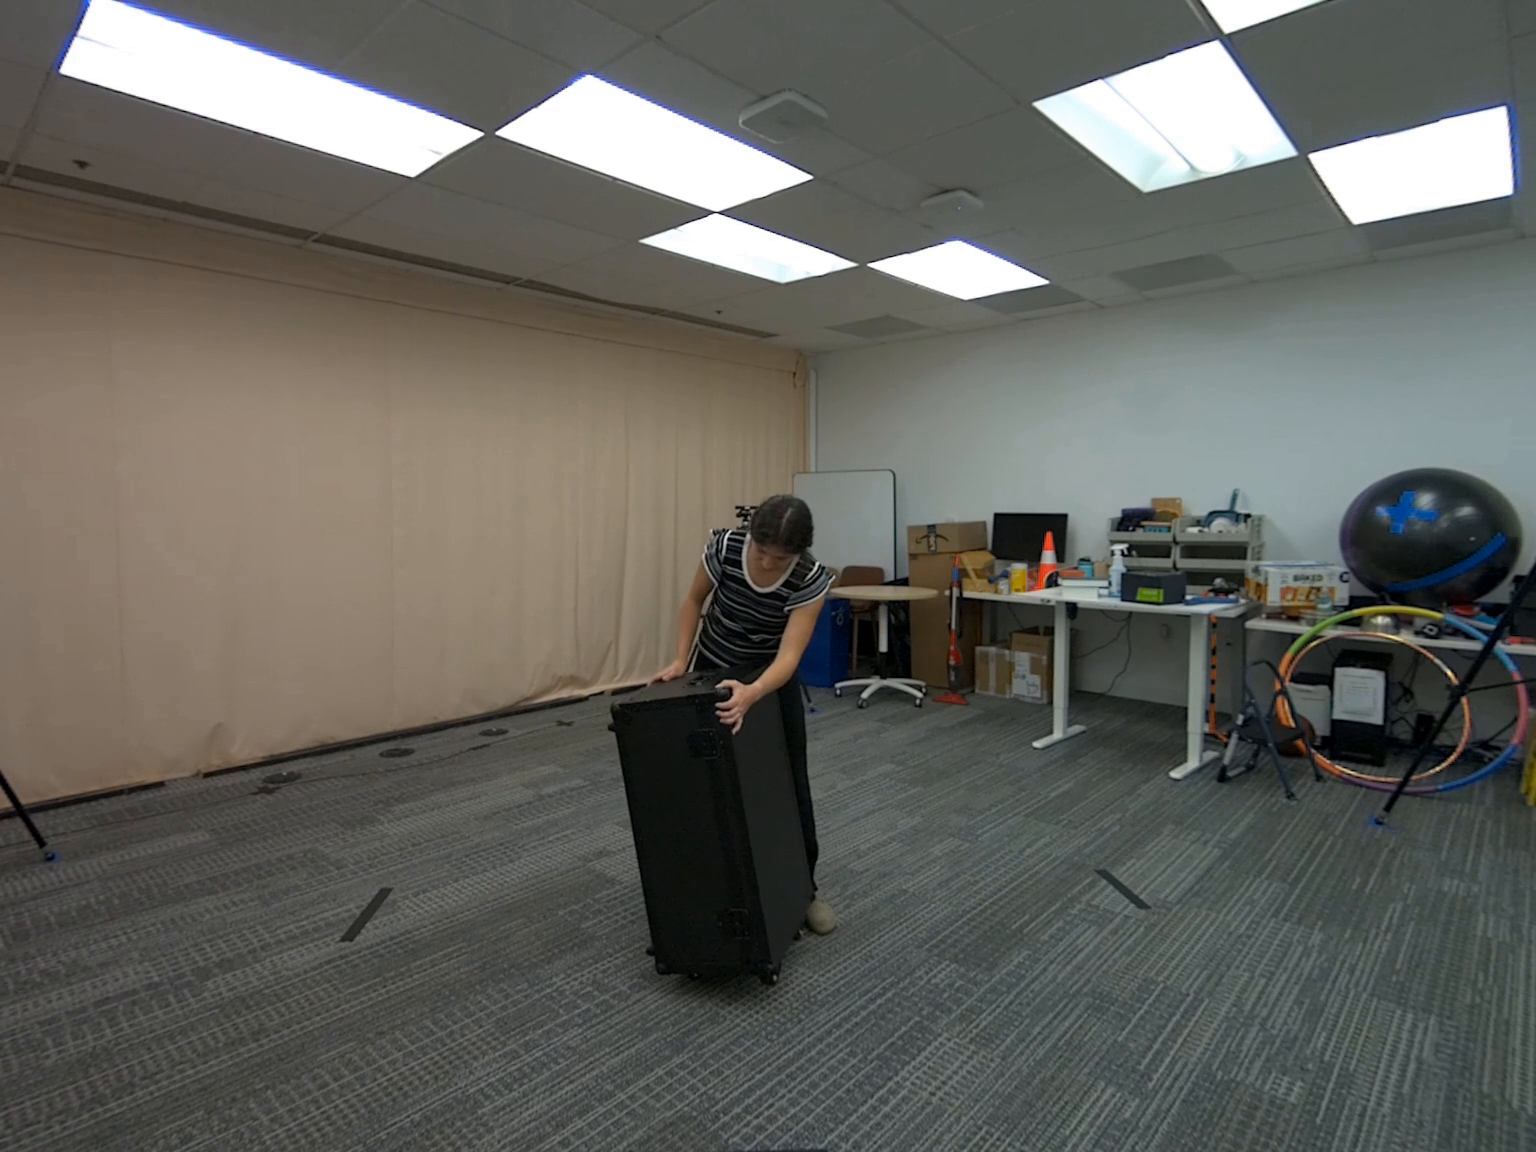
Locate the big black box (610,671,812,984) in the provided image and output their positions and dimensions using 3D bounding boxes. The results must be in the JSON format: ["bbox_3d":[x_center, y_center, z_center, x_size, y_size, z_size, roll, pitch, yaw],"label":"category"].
[{"bbox_3d":[-0.160,0.745,2.562,0.403,0.862,0.512,-10,0,18],"label":"big black box"}]
